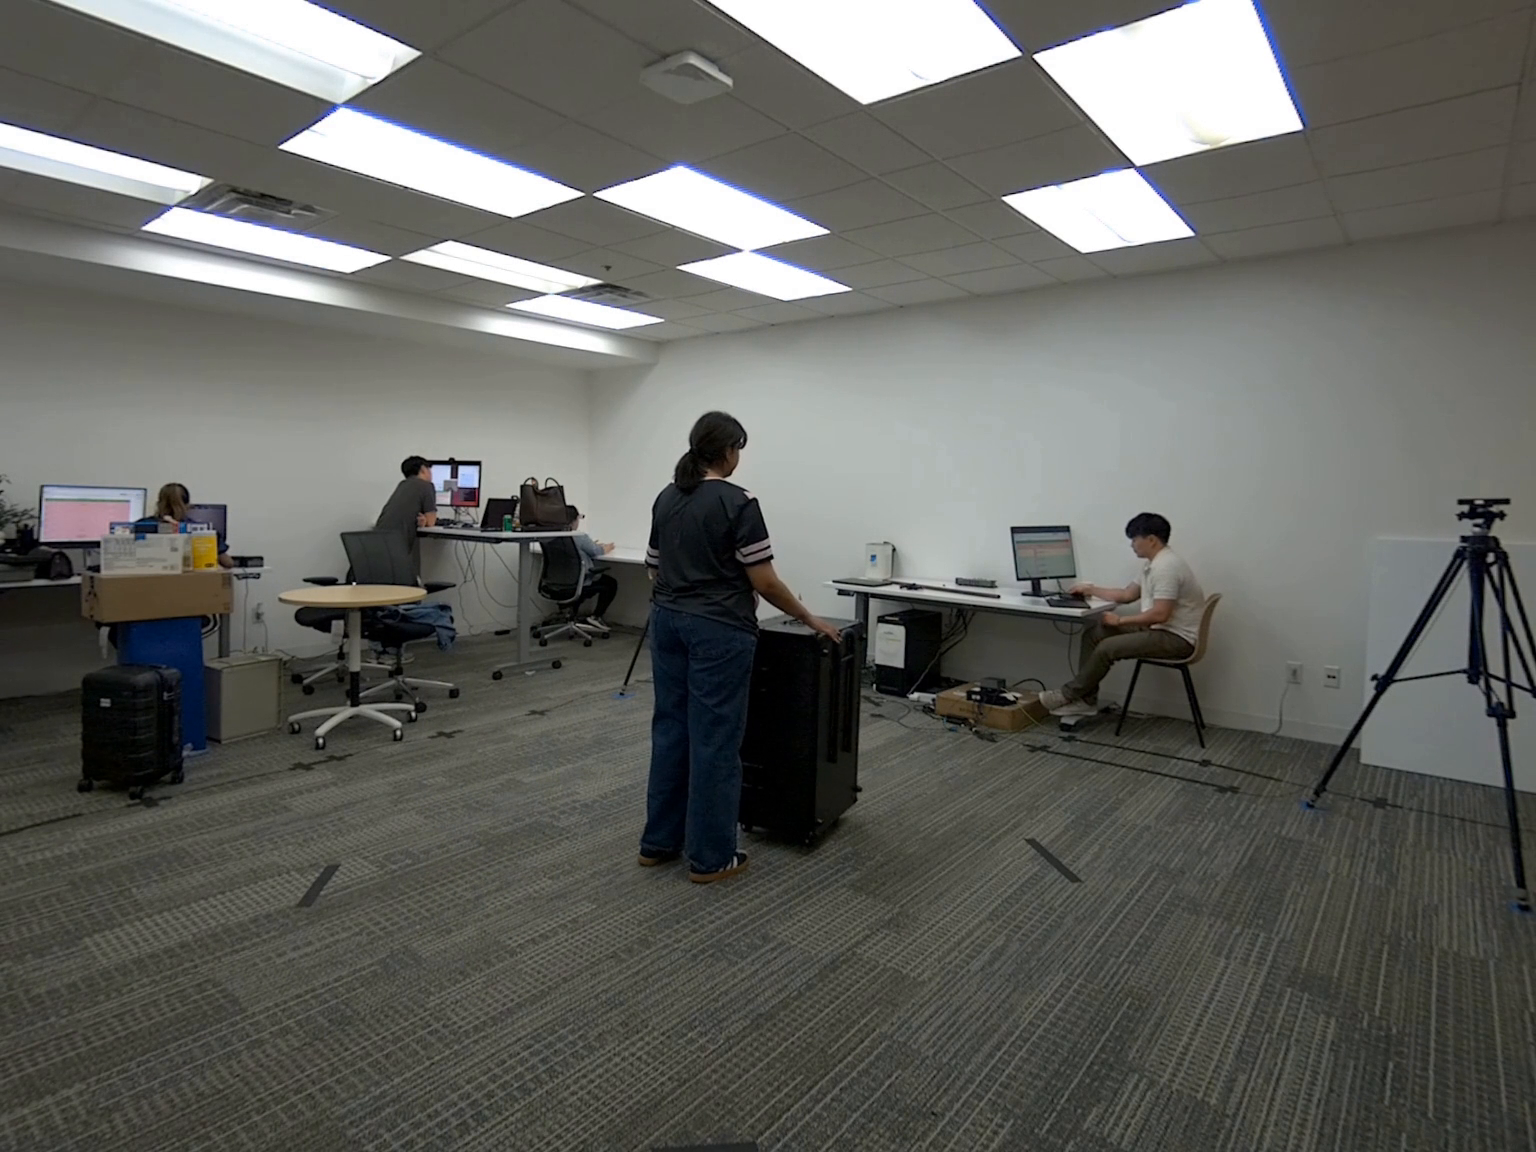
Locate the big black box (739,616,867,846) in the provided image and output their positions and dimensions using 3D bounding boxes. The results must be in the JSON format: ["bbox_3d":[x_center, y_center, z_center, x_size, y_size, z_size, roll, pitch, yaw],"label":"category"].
[{"bbox_3d":[0.130,0.617,3.499,0.395,0.865,0.512,4,5,25],"label":"big black box"}]
